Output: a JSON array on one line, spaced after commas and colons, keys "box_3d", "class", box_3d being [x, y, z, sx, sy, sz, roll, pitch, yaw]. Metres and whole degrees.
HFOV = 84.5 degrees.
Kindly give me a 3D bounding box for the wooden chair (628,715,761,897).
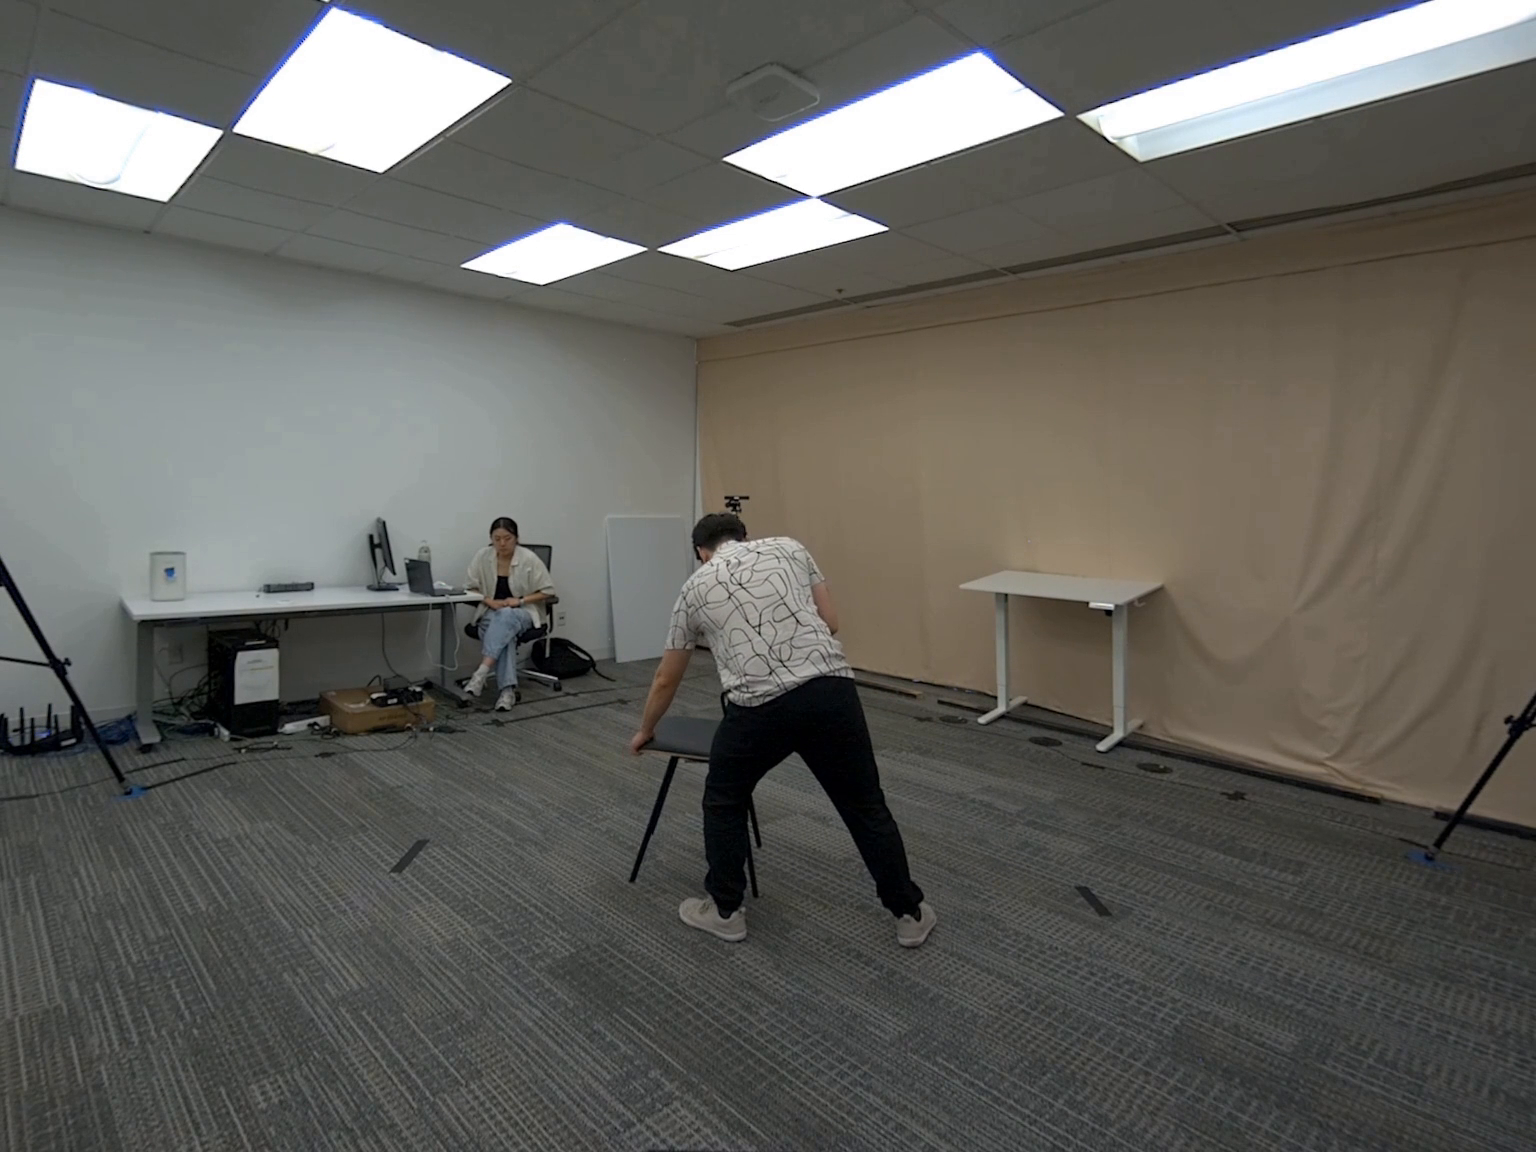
[{"box_3d": [-0.224, 0.661, 3.130, 0.523, 0.875, 0.479, 9, 4, 0], "class": "wooden chair"}]
